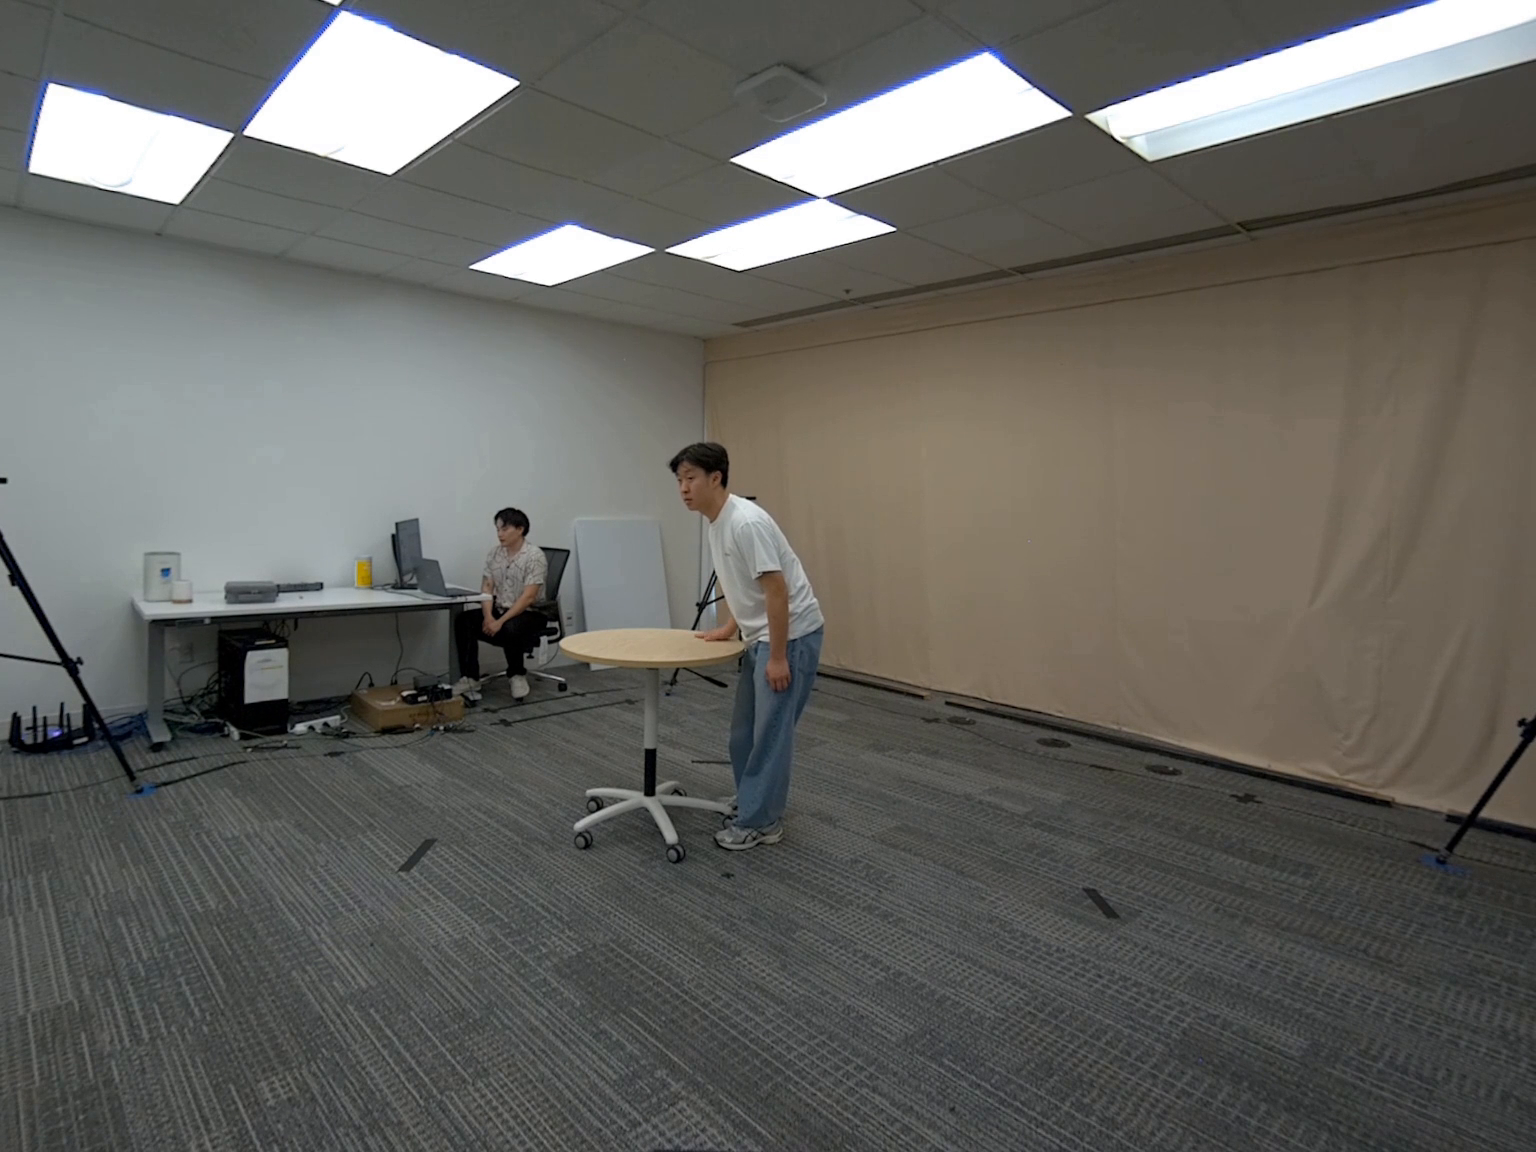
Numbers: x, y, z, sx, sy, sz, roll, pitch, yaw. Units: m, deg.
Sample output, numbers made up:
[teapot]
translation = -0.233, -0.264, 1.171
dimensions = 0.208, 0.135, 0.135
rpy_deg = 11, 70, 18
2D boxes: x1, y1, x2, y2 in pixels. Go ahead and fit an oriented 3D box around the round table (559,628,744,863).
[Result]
[round table]
translation = -0.496, 0.671, 3.507
dimensions = 0.763, 0.792, 0.766
rpy_deg = 1, 4, -1
